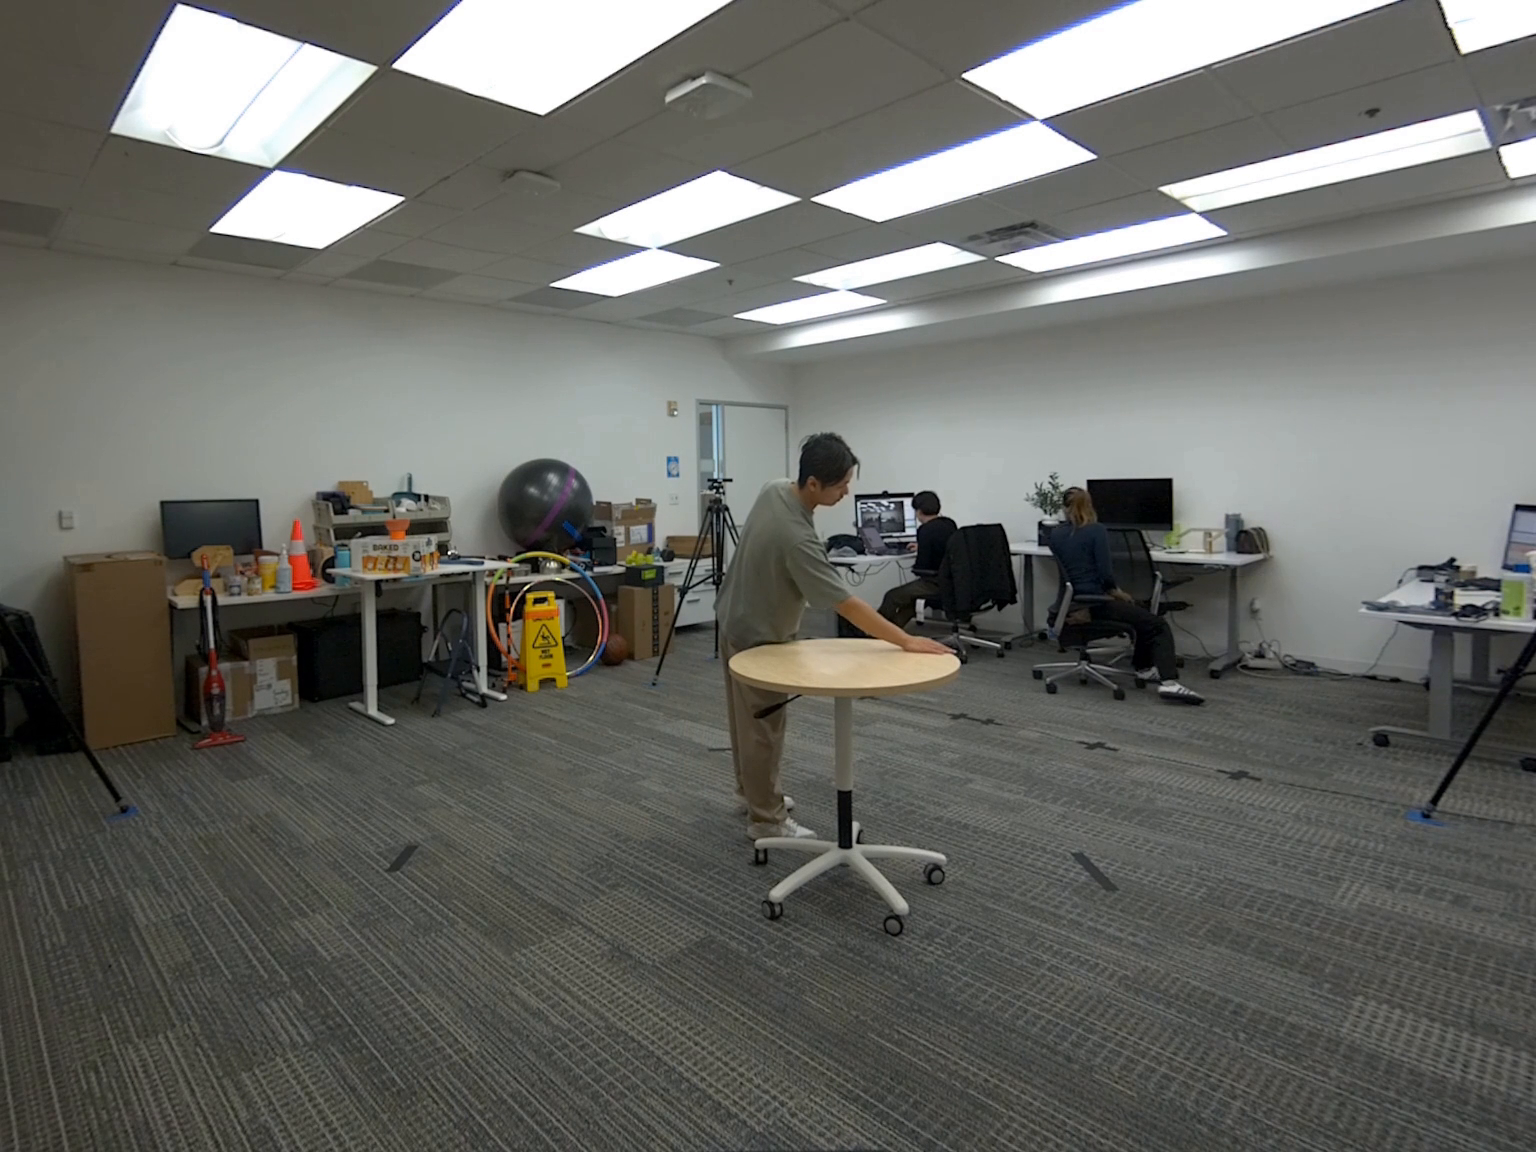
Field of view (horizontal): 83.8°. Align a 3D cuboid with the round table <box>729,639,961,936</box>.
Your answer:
[{"bbox_3d":[0.268,0.675,2.893,0.763,0.791,0.768,-1,5,-2],"label":"round table"}]
